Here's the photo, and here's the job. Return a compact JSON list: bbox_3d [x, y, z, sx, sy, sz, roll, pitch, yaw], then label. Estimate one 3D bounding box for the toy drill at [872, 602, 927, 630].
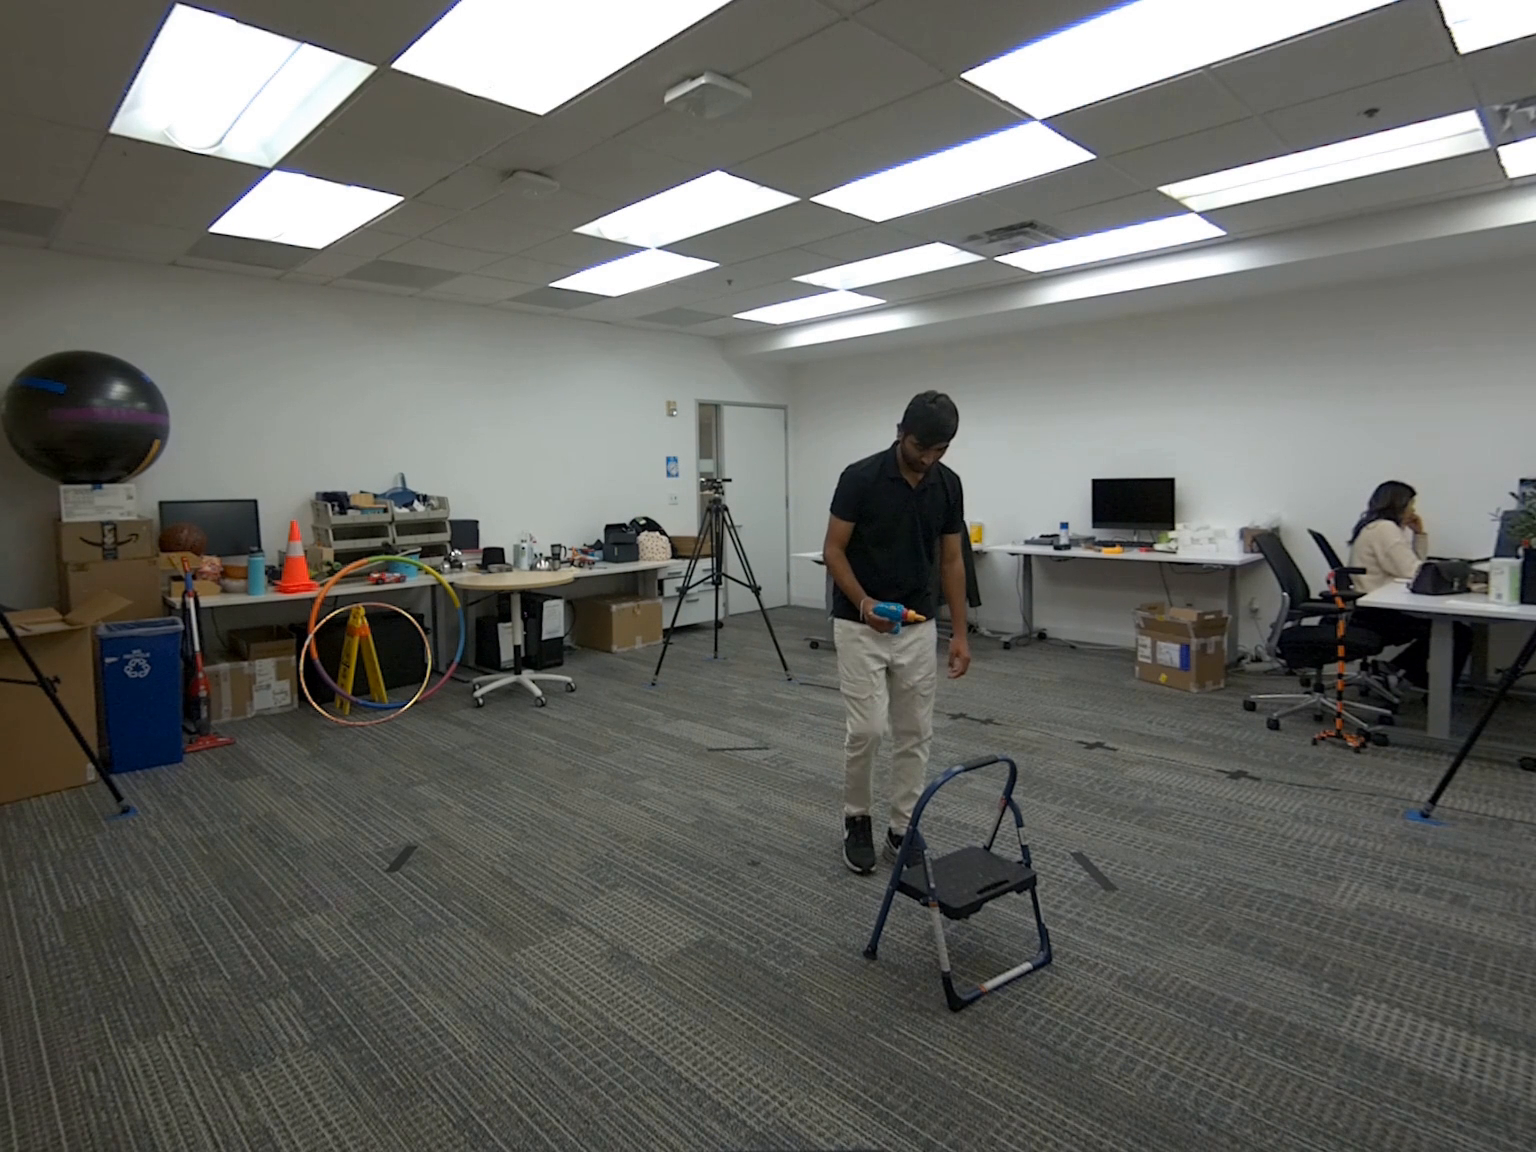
[{"bbox_3d":[0.409,0.143,2.751,0.172,0.062,0.141,9,-28,14],"label":"toy drill"}]
